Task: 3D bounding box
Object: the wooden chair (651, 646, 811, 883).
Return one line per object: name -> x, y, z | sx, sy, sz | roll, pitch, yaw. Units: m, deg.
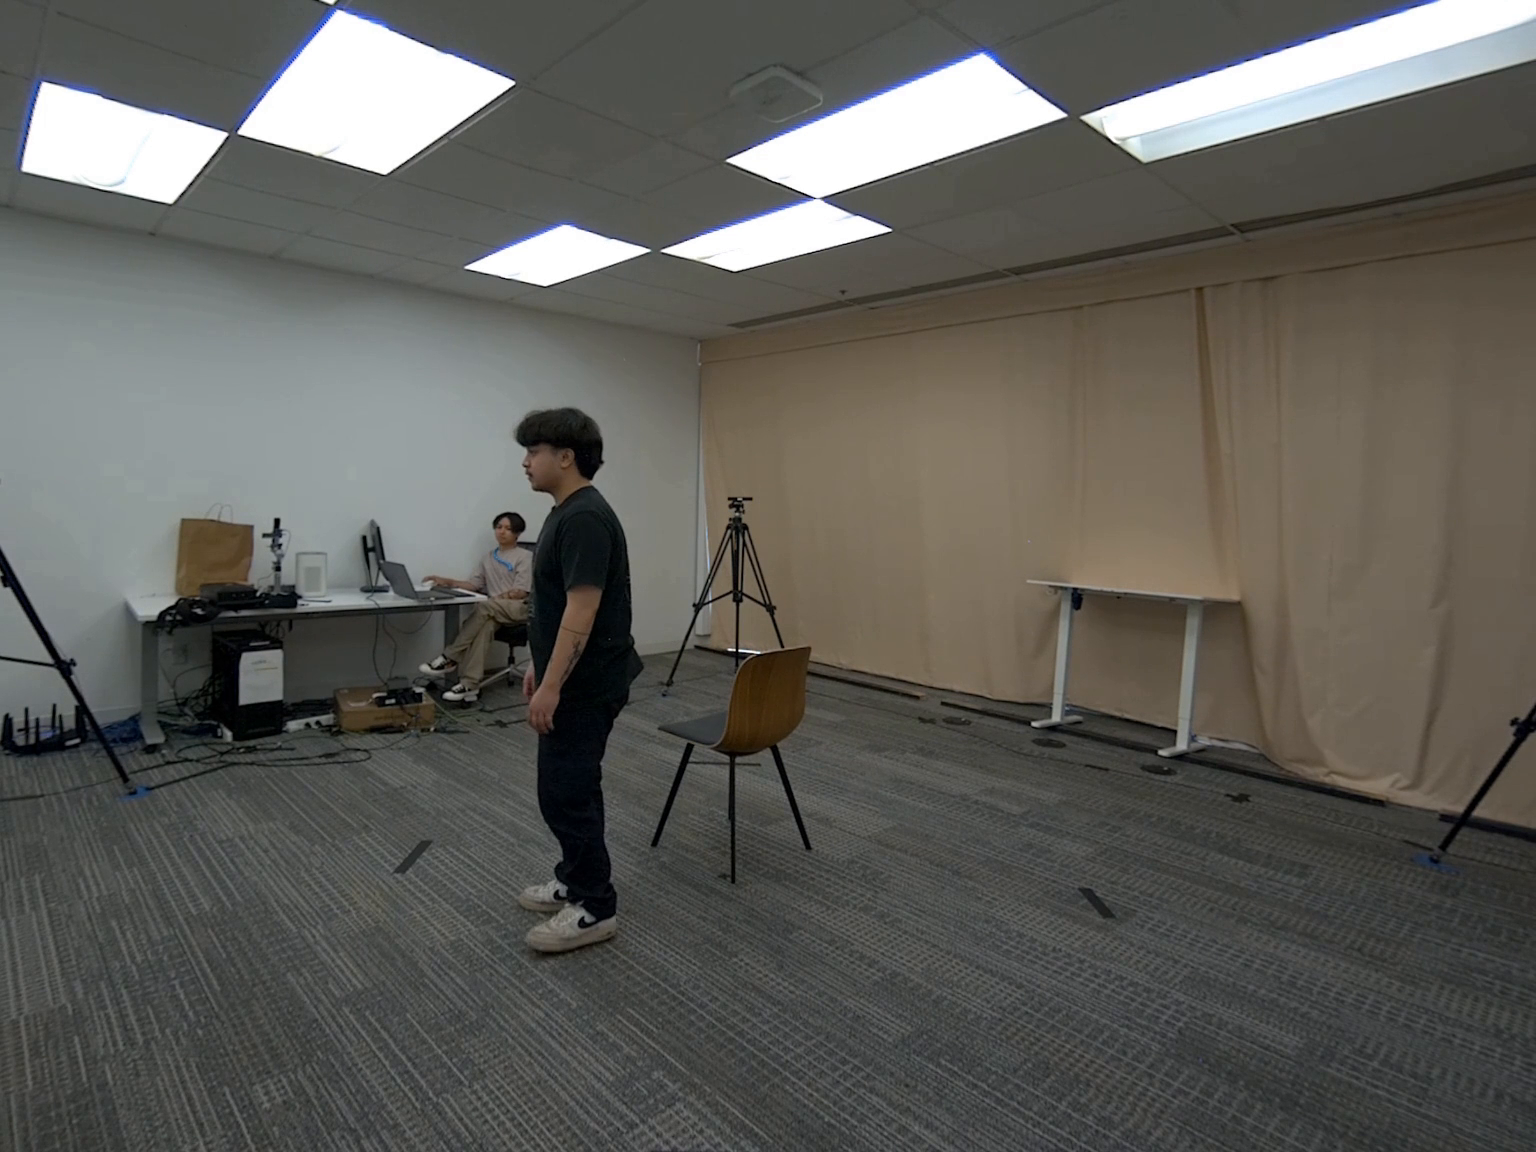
wooden chair -> -0.144, 0.659, 3.327 | 0.537, 0.873, 0.467 | 10, 9, 42
